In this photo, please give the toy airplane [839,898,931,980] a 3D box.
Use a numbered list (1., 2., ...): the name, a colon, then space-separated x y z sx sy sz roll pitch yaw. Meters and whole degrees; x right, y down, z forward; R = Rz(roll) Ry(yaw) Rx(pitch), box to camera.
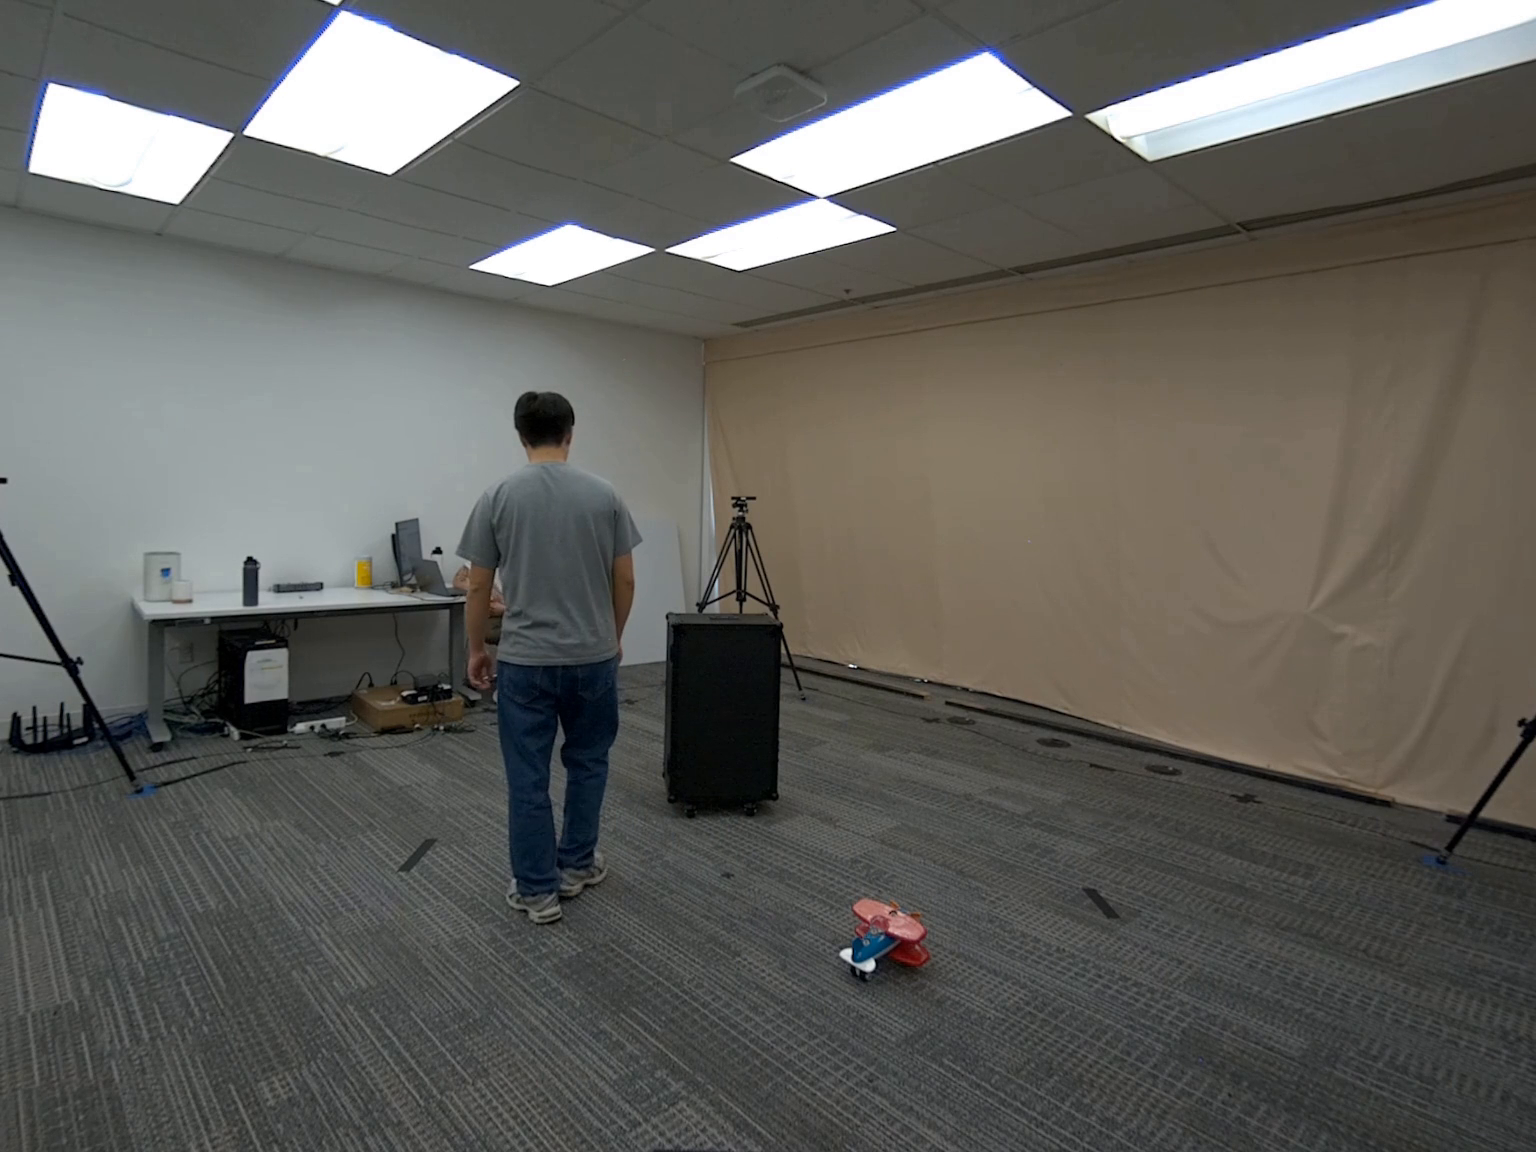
1. toy airplane: 0.347 1.102 2.499 0.255 0.156 0.255 2 3 21
